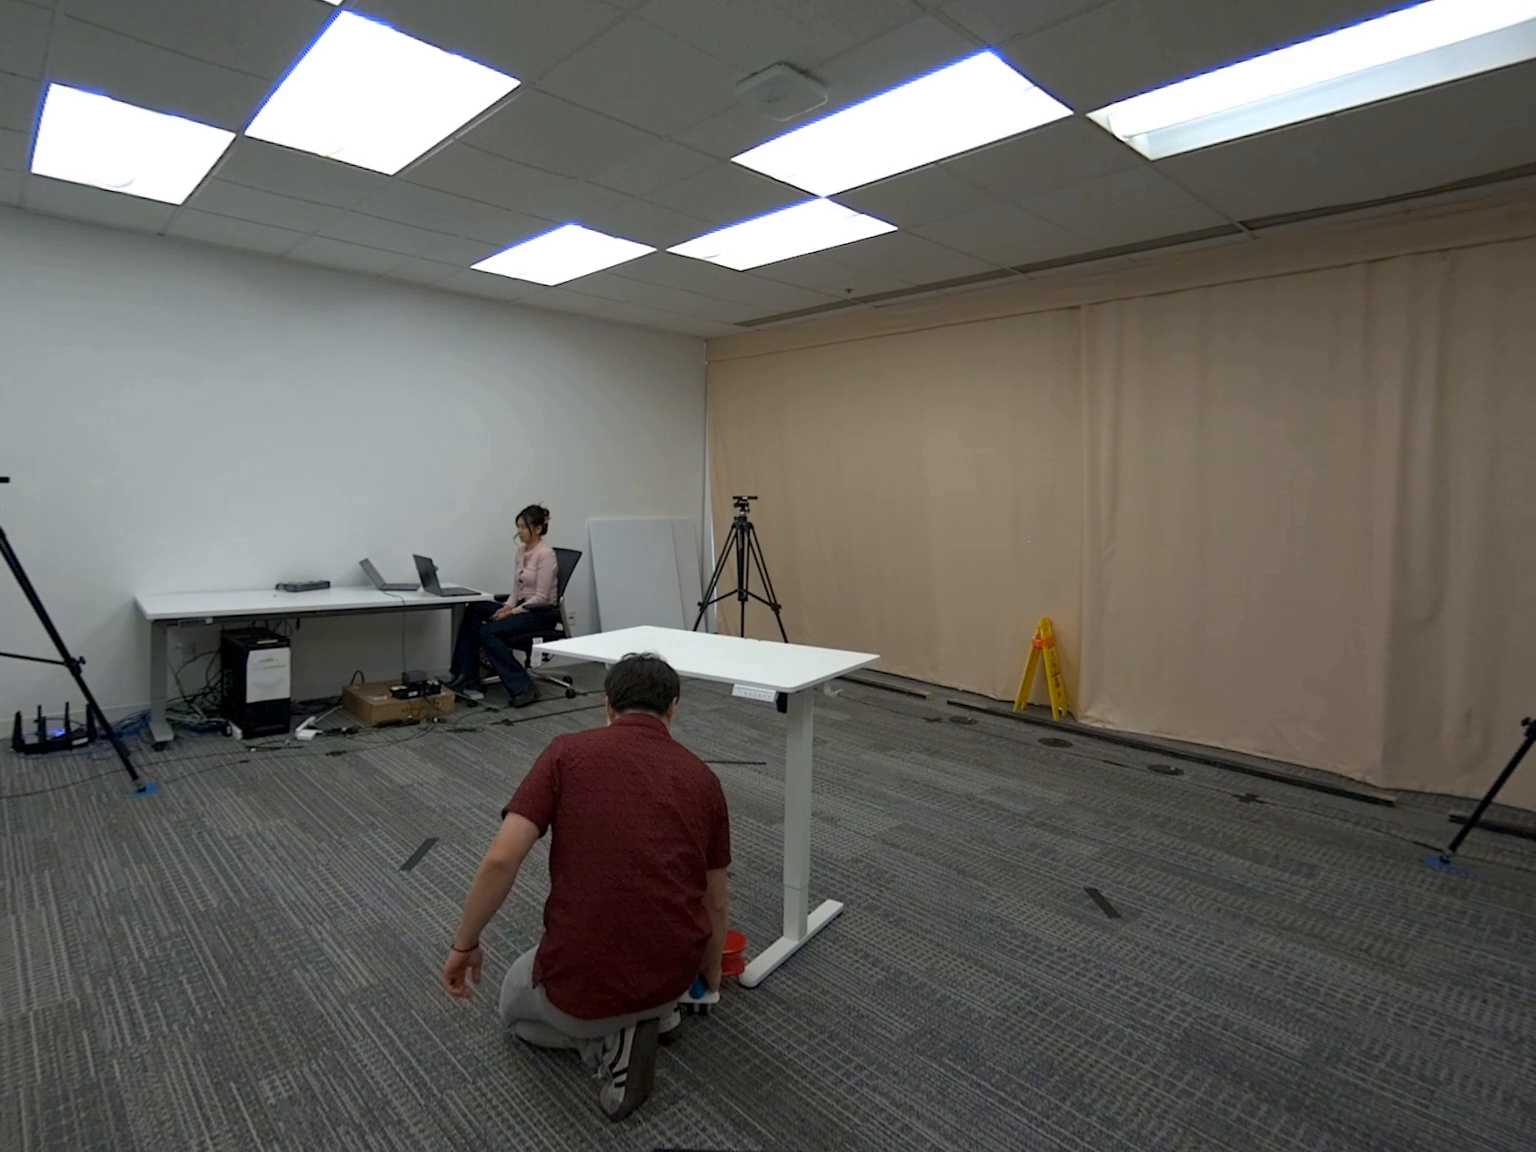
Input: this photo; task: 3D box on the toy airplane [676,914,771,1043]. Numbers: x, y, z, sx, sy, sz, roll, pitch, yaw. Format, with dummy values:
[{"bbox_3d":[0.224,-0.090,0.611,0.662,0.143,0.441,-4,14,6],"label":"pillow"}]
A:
[{"bbox_3d":[-0.167,1.103,2.353,0.246,0.155,0.265,-4,9,-28],"label":"toy airplane"}]
